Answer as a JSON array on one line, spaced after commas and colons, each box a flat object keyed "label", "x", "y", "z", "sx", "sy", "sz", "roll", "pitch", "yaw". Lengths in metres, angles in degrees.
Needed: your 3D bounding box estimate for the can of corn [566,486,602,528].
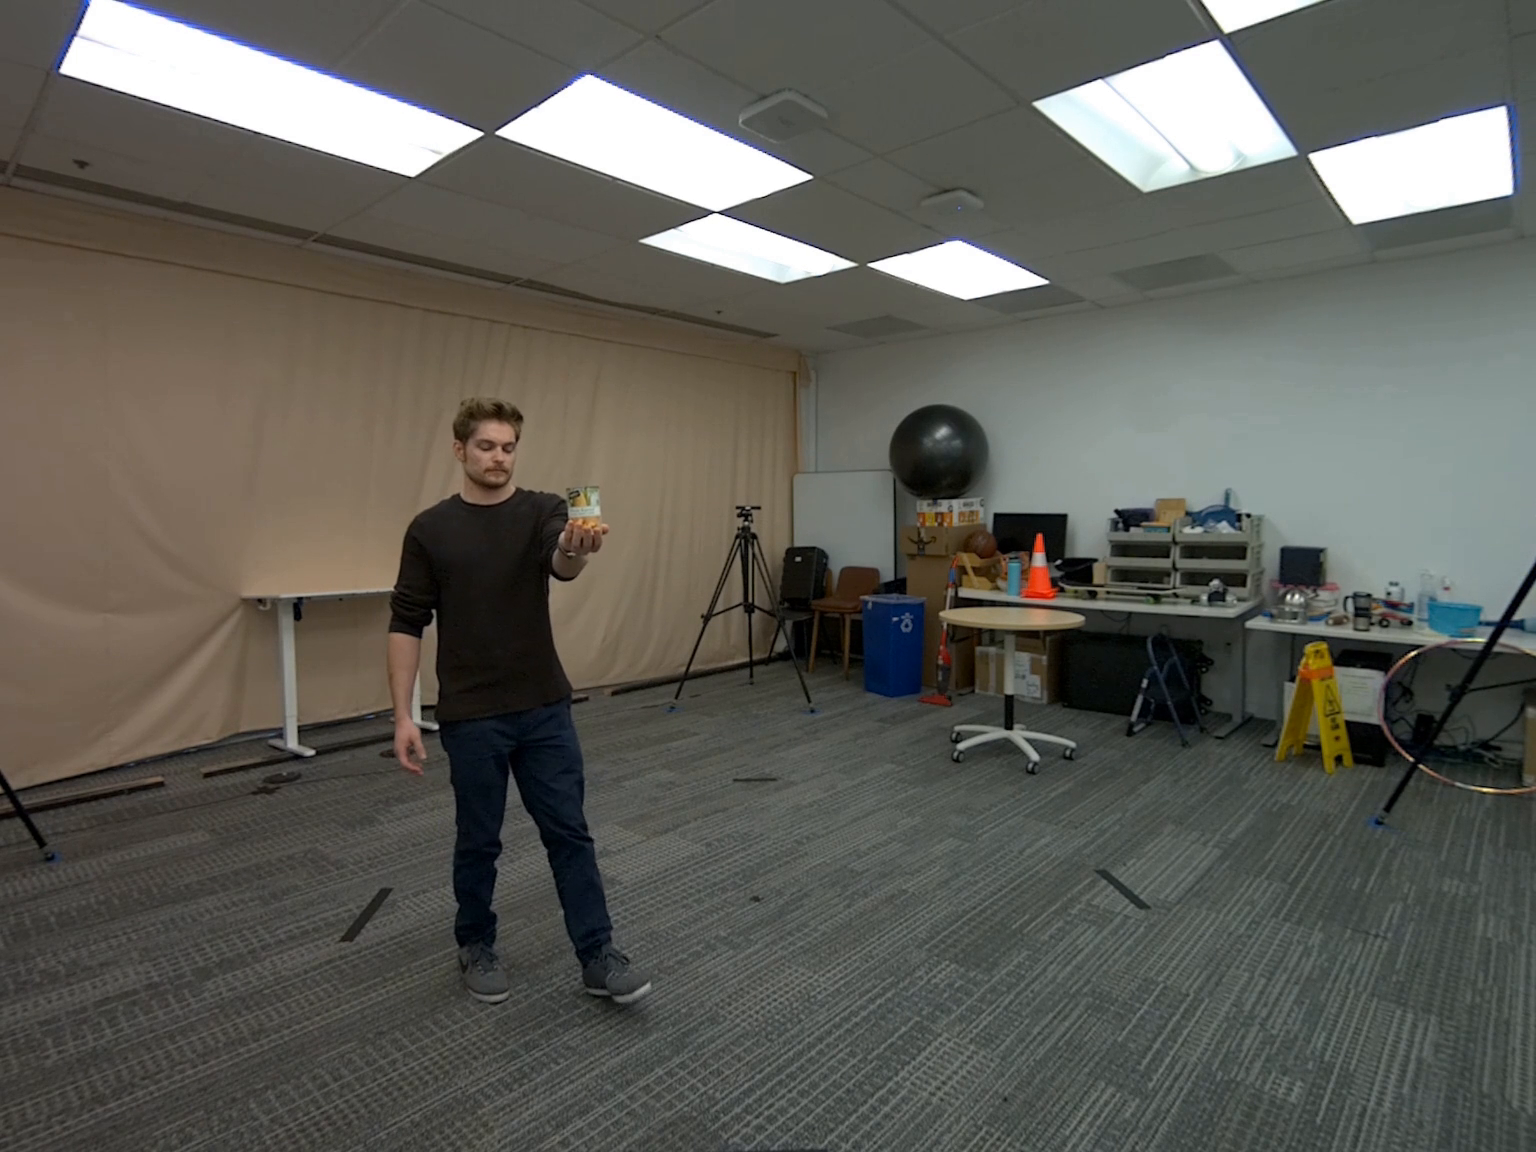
[{"label": "can of corn", "x": -0.410, "y": -0.145, "z": 1.909, "sx": 0.074, "sy": 0.111, "sz": 0.074, "roll": -4, "pitch": 2, "yaw": -2}]
